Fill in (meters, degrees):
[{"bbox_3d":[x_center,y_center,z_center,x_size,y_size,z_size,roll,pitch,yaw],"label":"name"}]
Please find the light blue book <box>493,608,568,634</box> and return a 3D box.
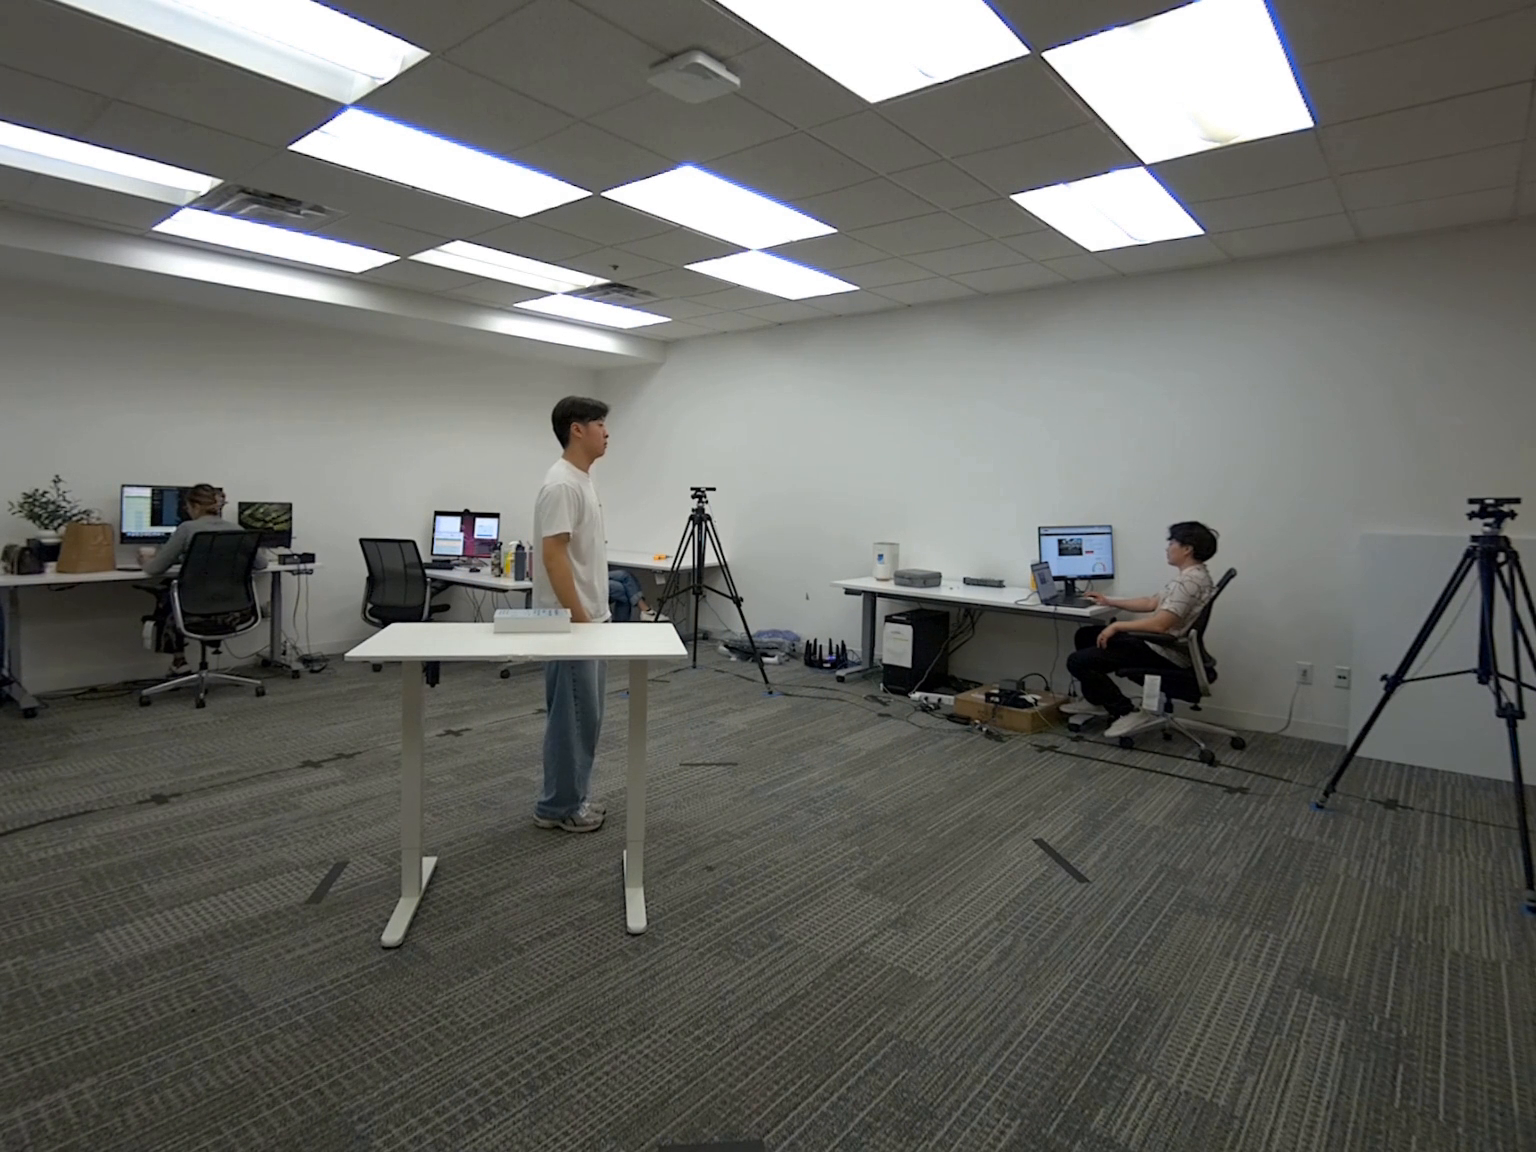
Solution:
[{"bbox_3d":[-0.877,0.156,2.998,0.257,0.059,0.195,0,6,-13],"label":"light blue book"}]
